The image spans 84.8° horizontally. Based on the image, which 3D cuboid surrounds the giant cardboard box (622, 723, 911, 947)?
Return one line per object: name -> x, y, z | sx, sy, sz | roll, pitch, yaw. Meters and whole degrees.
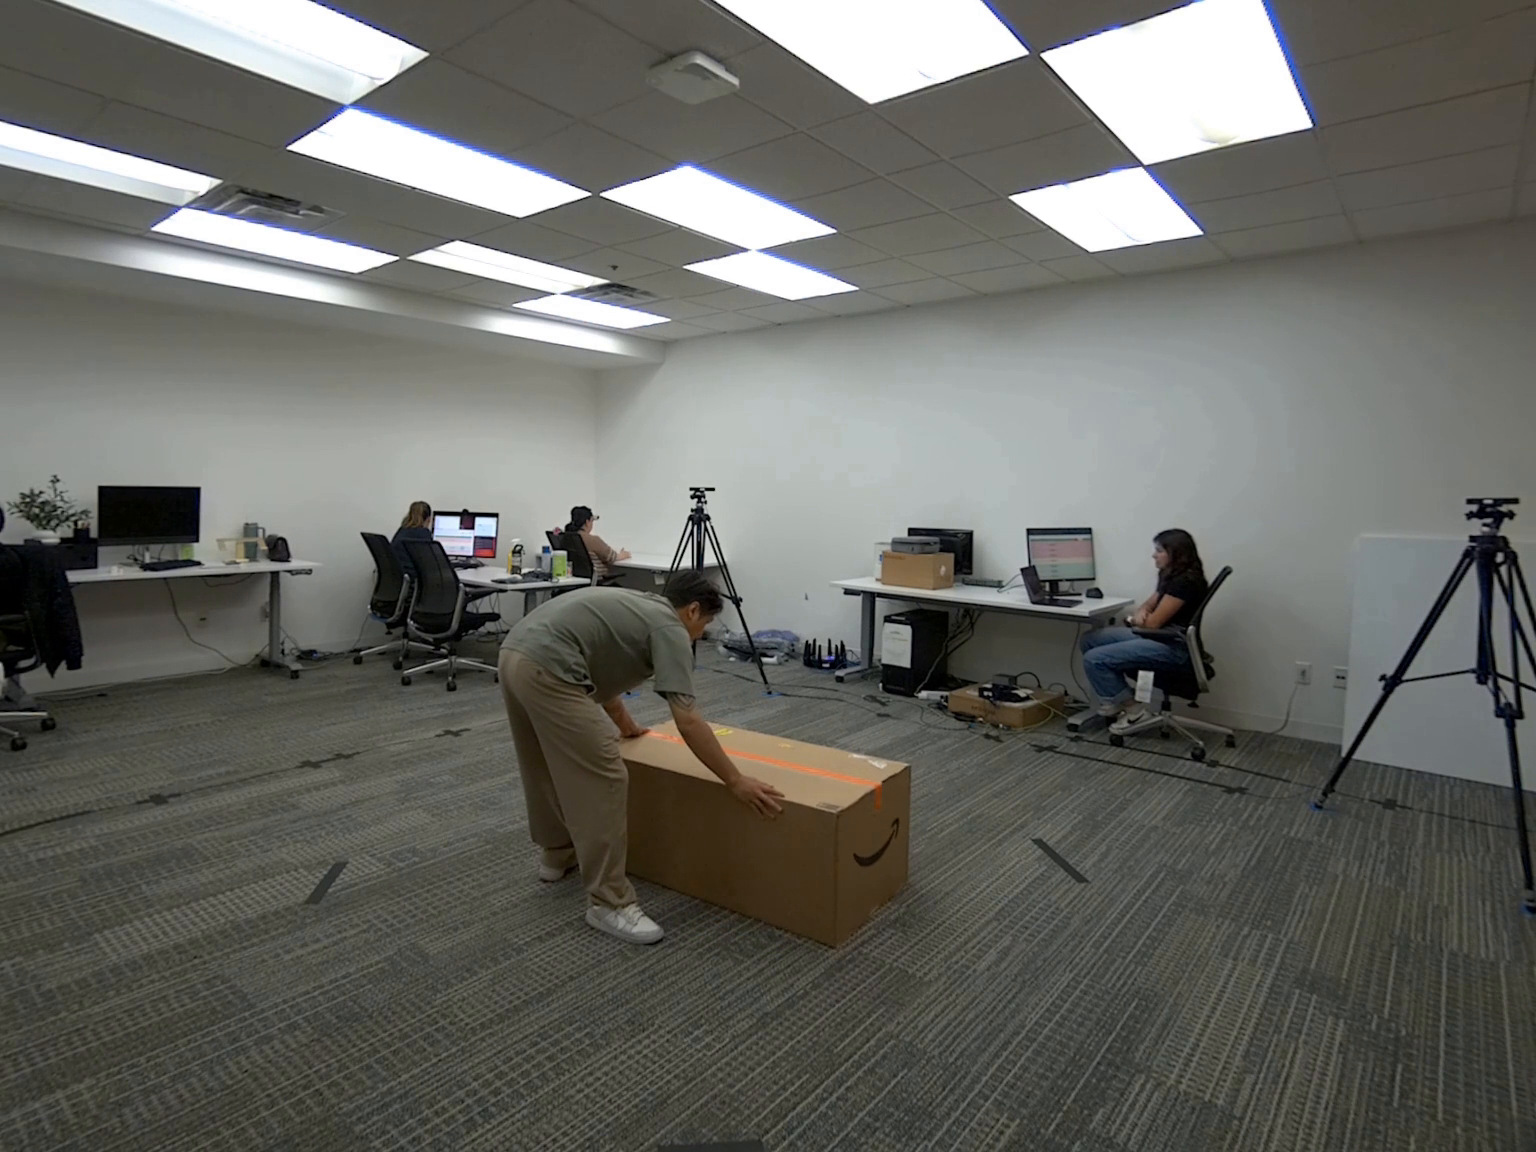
giant cardboard box -> -0.081, 0.857, 3.087 | 1.058, 0.424, 0.562 | 4, 7, 33
